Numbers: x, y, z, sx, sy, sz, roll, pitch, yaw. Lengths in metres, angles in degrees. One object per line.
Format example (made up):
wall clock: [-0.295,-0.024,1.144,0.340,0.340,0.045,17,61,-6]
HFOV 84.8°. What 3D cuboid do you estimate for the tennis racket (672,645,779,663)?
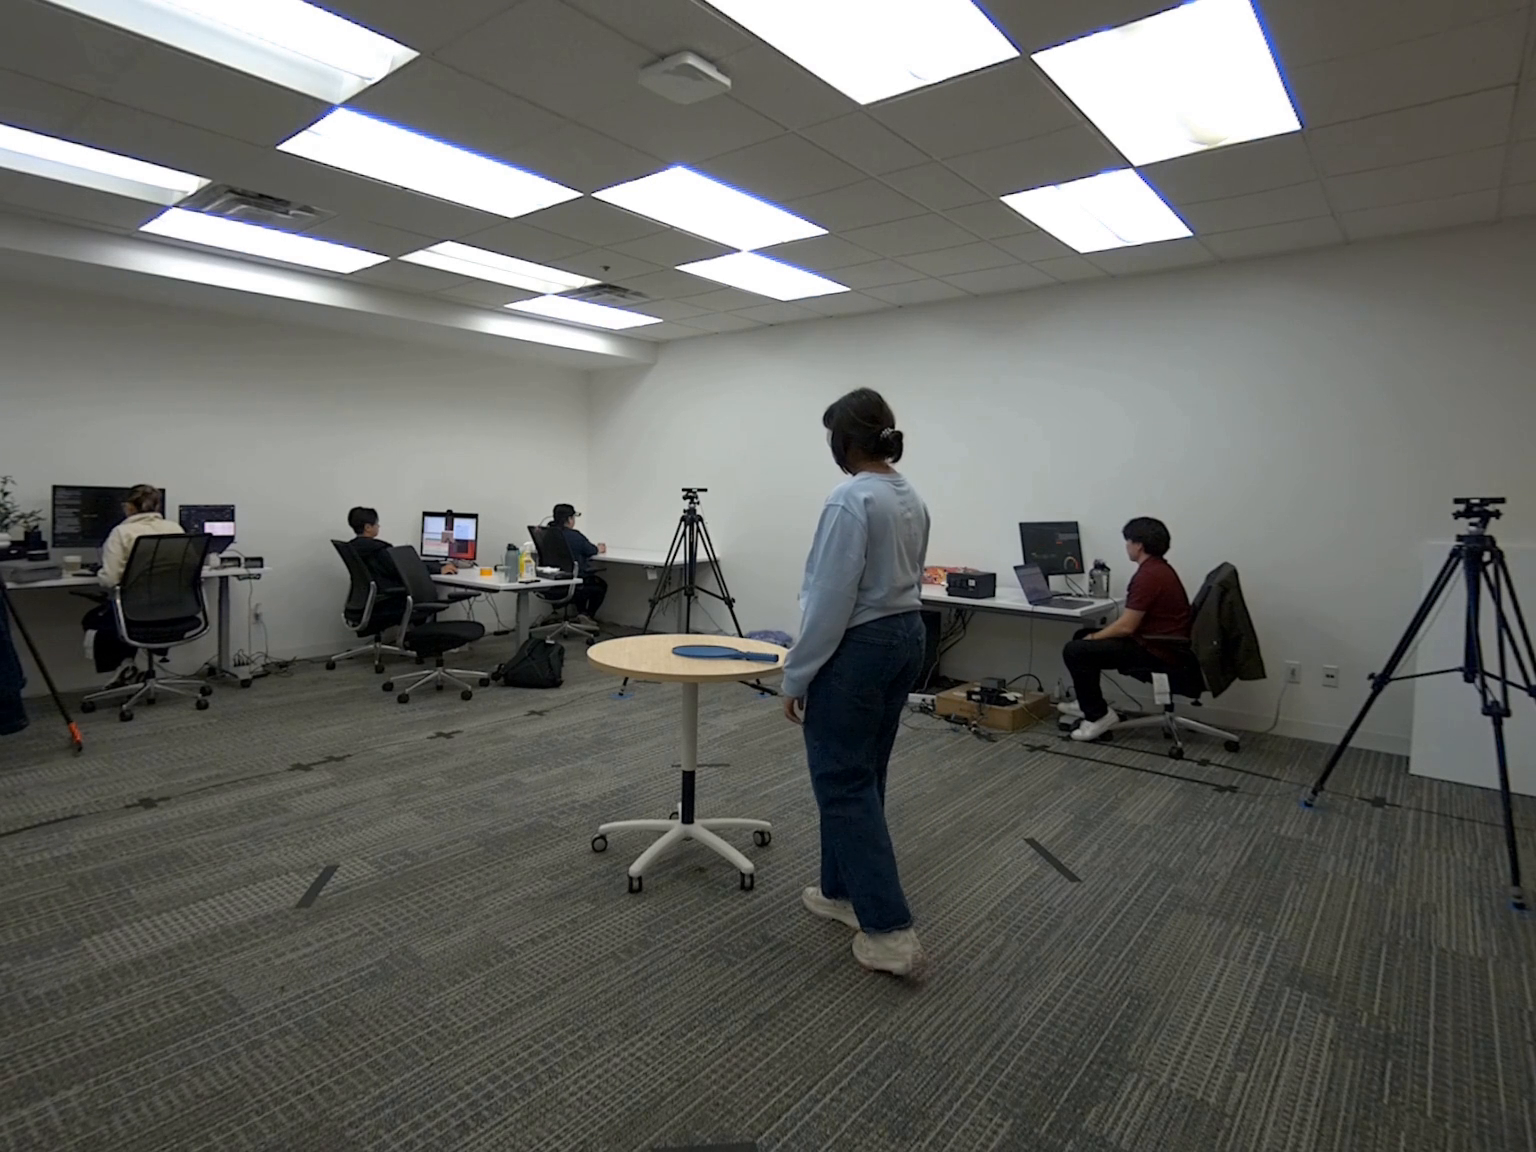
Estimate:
tennis racket: [-0.168,0.282,3.097,0.446,0.031,0.208,3,6,32]
